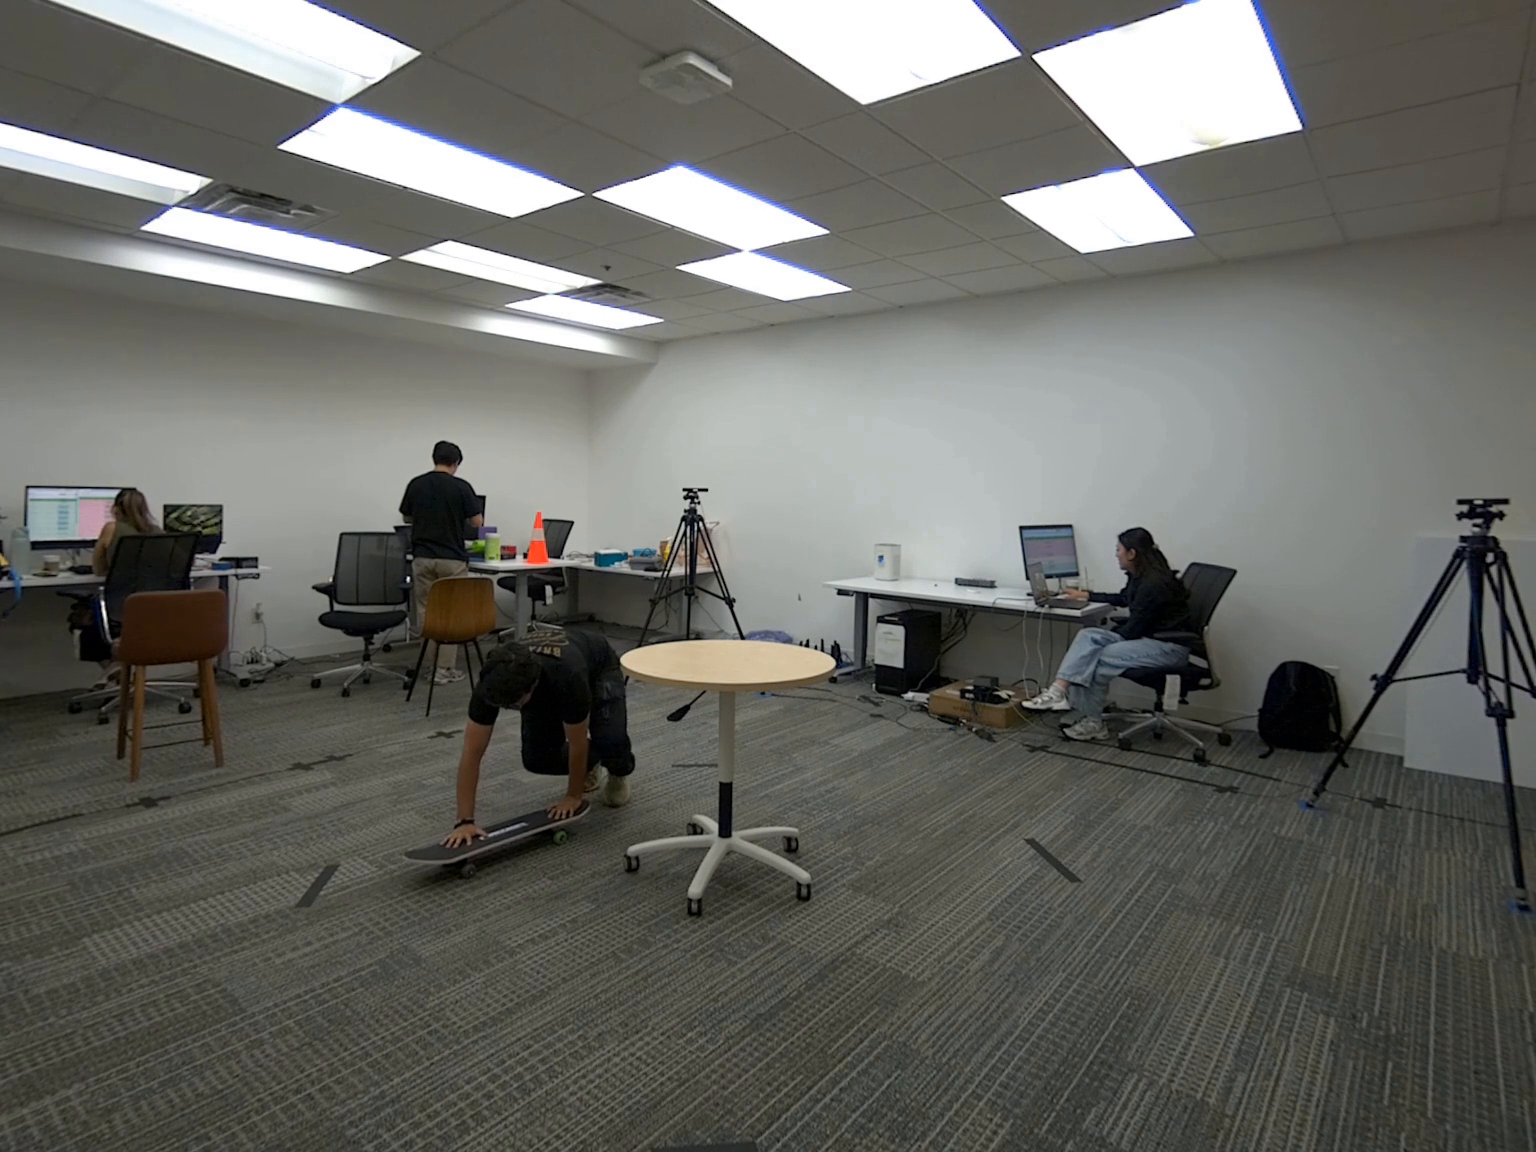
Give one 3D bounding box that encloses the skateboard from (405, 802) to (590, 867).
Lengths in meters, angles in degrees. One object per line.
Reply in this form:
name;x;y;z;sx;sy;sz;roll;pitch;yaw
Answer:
skateboard;-1.007;0.999;3.209;0.199;0.110;0.762;0;3;41
